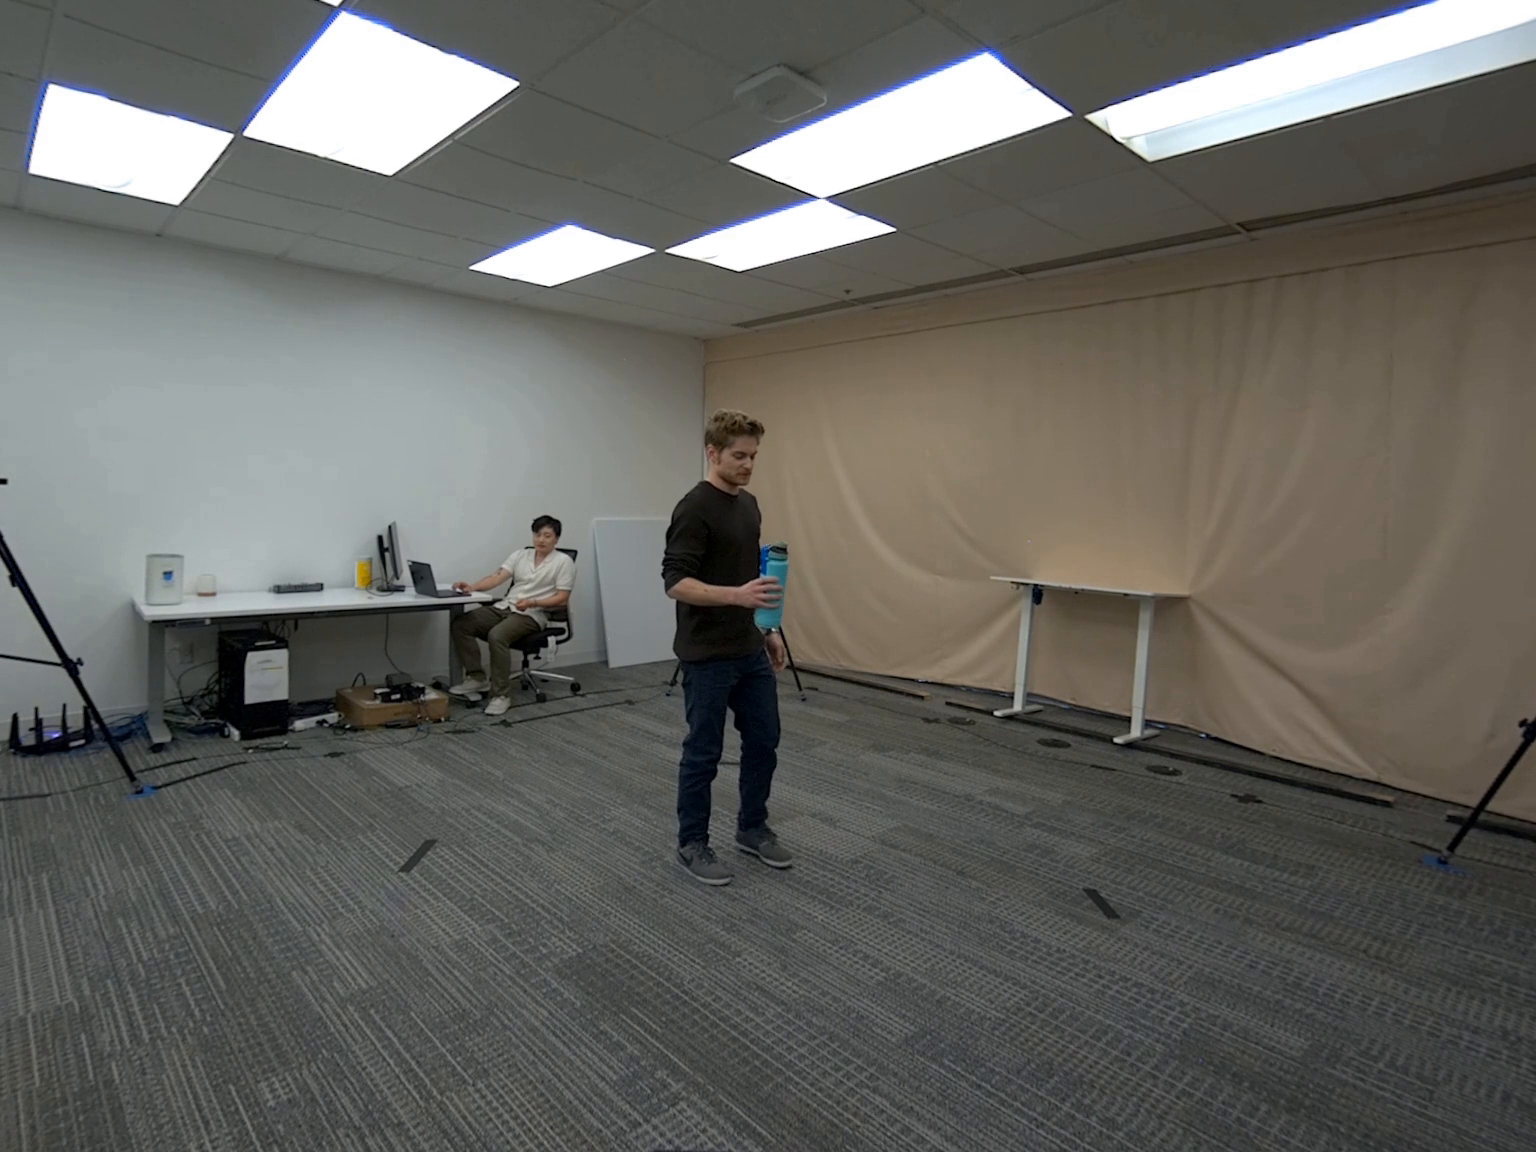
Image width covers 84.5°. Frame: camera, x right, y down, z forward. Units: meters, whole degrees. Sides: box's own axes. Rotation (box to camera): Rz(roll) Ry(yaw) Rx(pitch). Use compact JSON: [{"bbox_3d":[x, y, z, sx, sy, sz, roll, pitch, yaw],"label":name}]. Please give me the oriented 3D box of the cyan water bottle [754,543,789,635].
[{"bbox_3d":[0.002,0.026,2.780,0.092,0.281,0.093,3,12,-2],"label":"cyan water bottle"}]
